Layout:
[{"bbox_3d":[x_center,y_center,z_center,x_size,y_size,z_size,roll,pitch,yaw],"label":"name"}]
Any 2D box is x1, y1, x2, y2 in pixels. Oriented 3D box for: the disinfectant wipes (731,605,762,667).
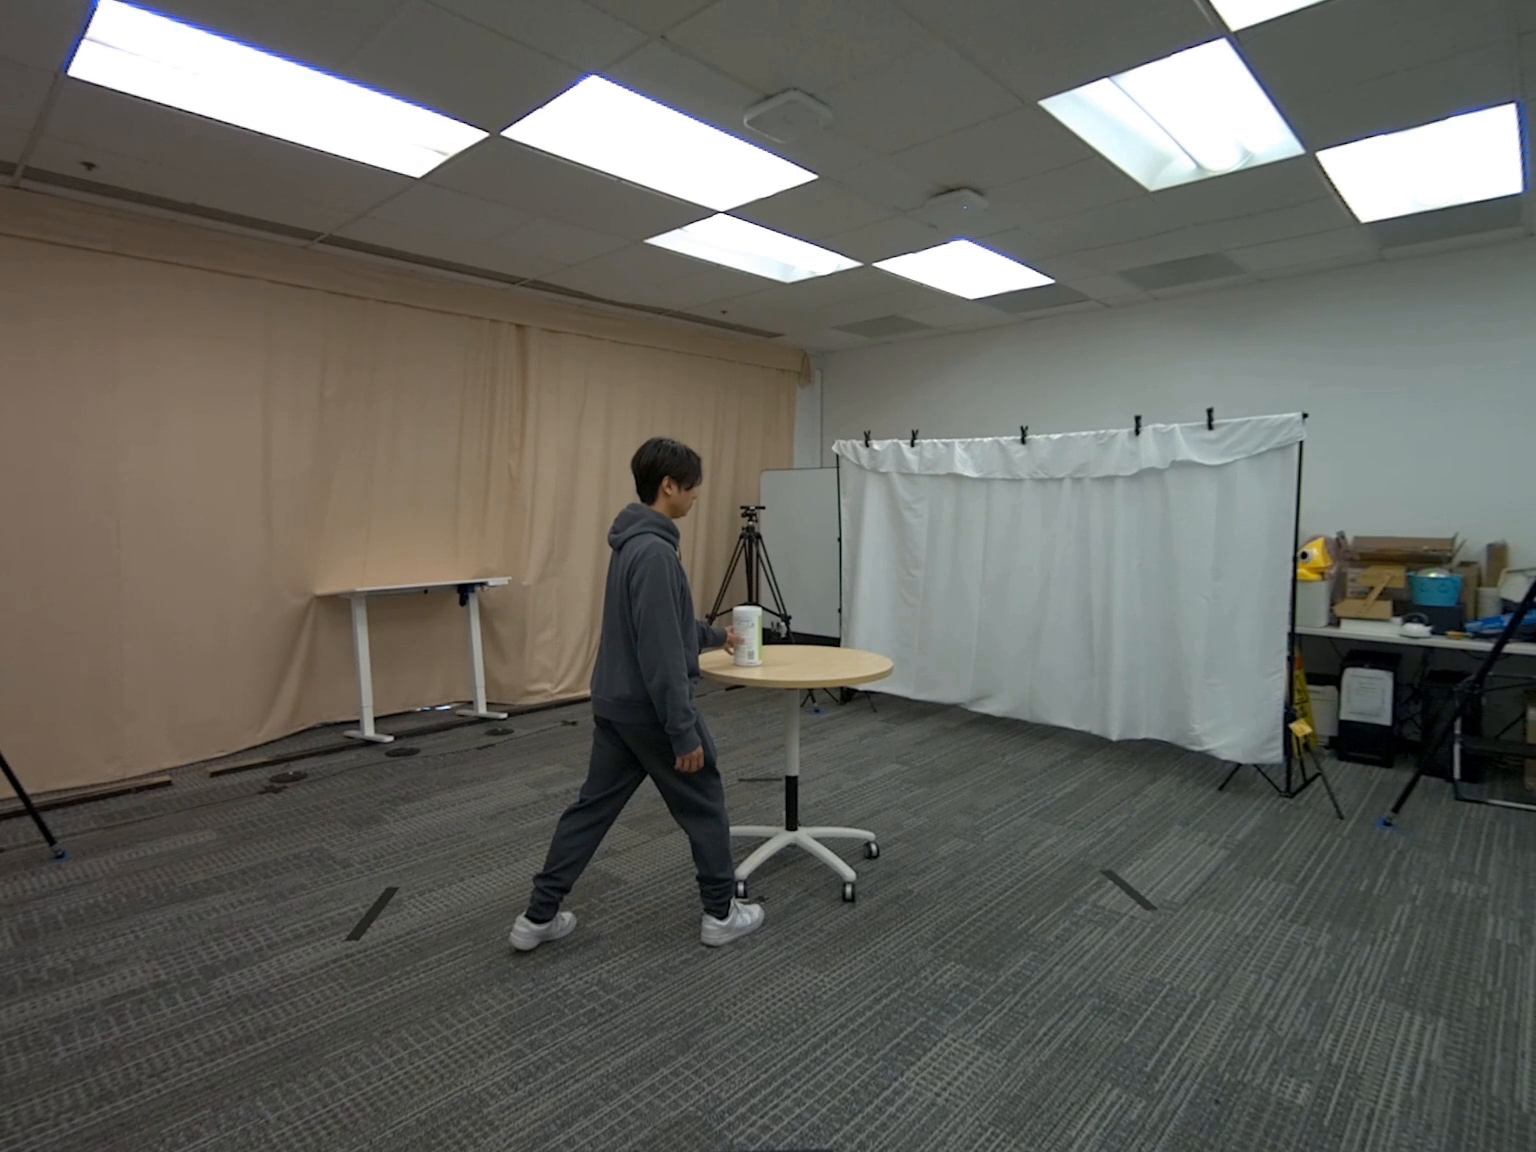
[{"bbox_3d":[-0.072,0.227,3.154,0.118,0.217,0.118,1,2,-2],"label":"disinfectant wipes"}]
